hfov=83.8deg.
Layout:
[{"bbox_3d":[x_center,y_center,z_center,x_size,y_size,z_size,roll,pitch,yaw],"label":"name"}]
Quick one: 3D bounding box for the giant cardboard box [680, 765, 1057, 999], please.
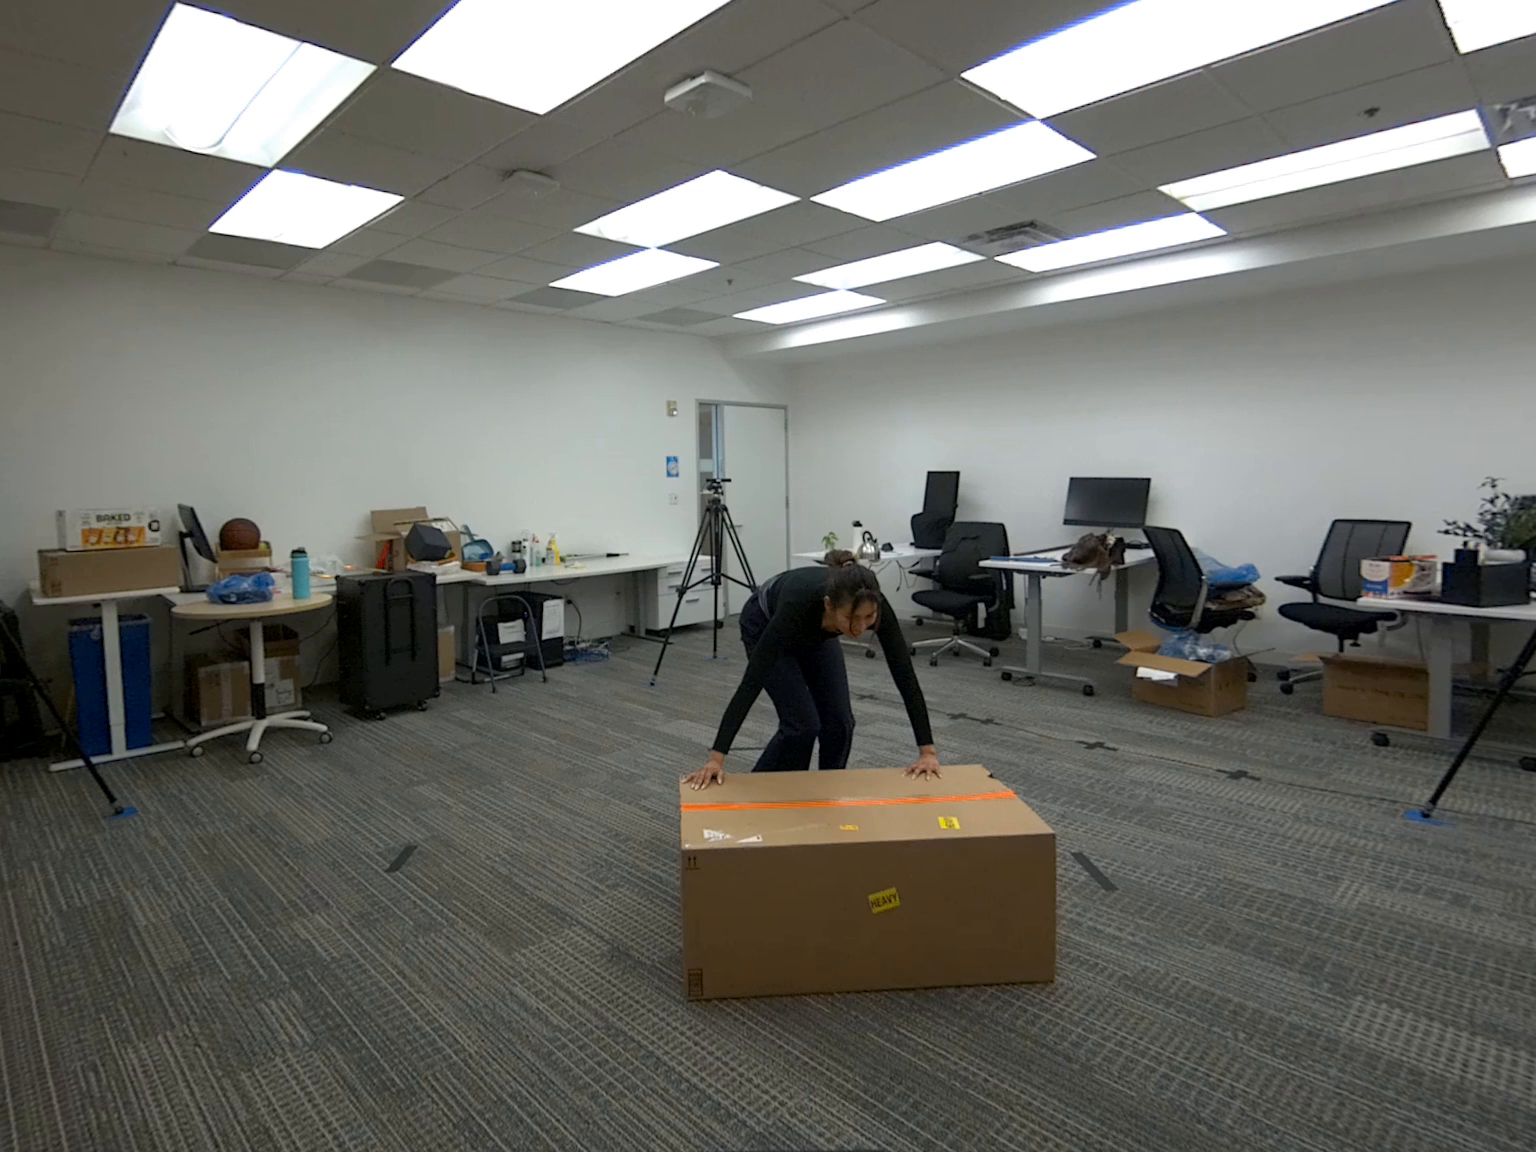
[{"bbox_3d":[0.248,0.883,2.585,1.022,0.425,0.582,-2,5,-4],"label":"giant cardboard box"}]
